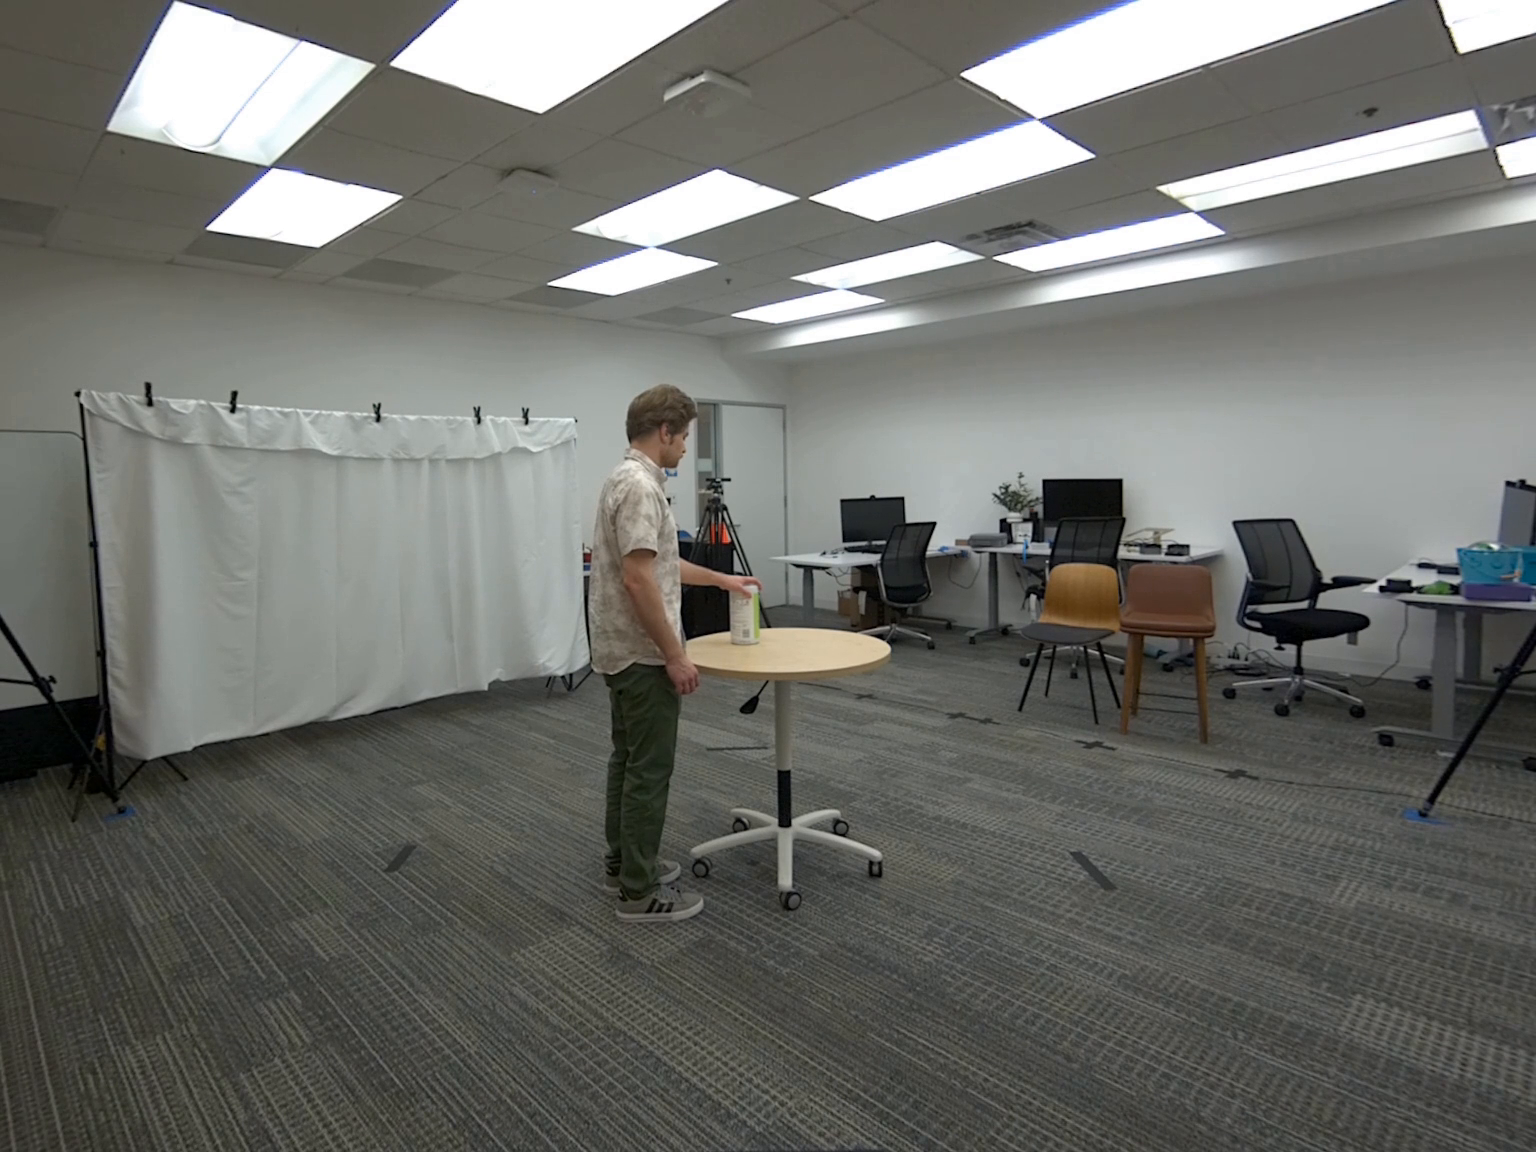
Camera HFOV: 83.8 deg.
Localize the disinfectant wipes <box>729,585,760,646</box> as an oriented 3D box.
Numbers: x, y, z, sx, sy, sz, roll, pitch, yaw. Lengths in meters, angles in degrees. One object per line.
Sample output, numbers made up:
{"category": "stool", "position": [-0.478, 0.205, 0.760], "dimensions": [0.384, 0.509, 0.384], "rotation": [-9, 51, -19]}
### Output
{"category": "disinfectant wipes", "position": [-0.084, 0.140, 3.154], "dimensions": [0.118, 0.217, 0.118], "rotation": [-1, 3, -2]}
